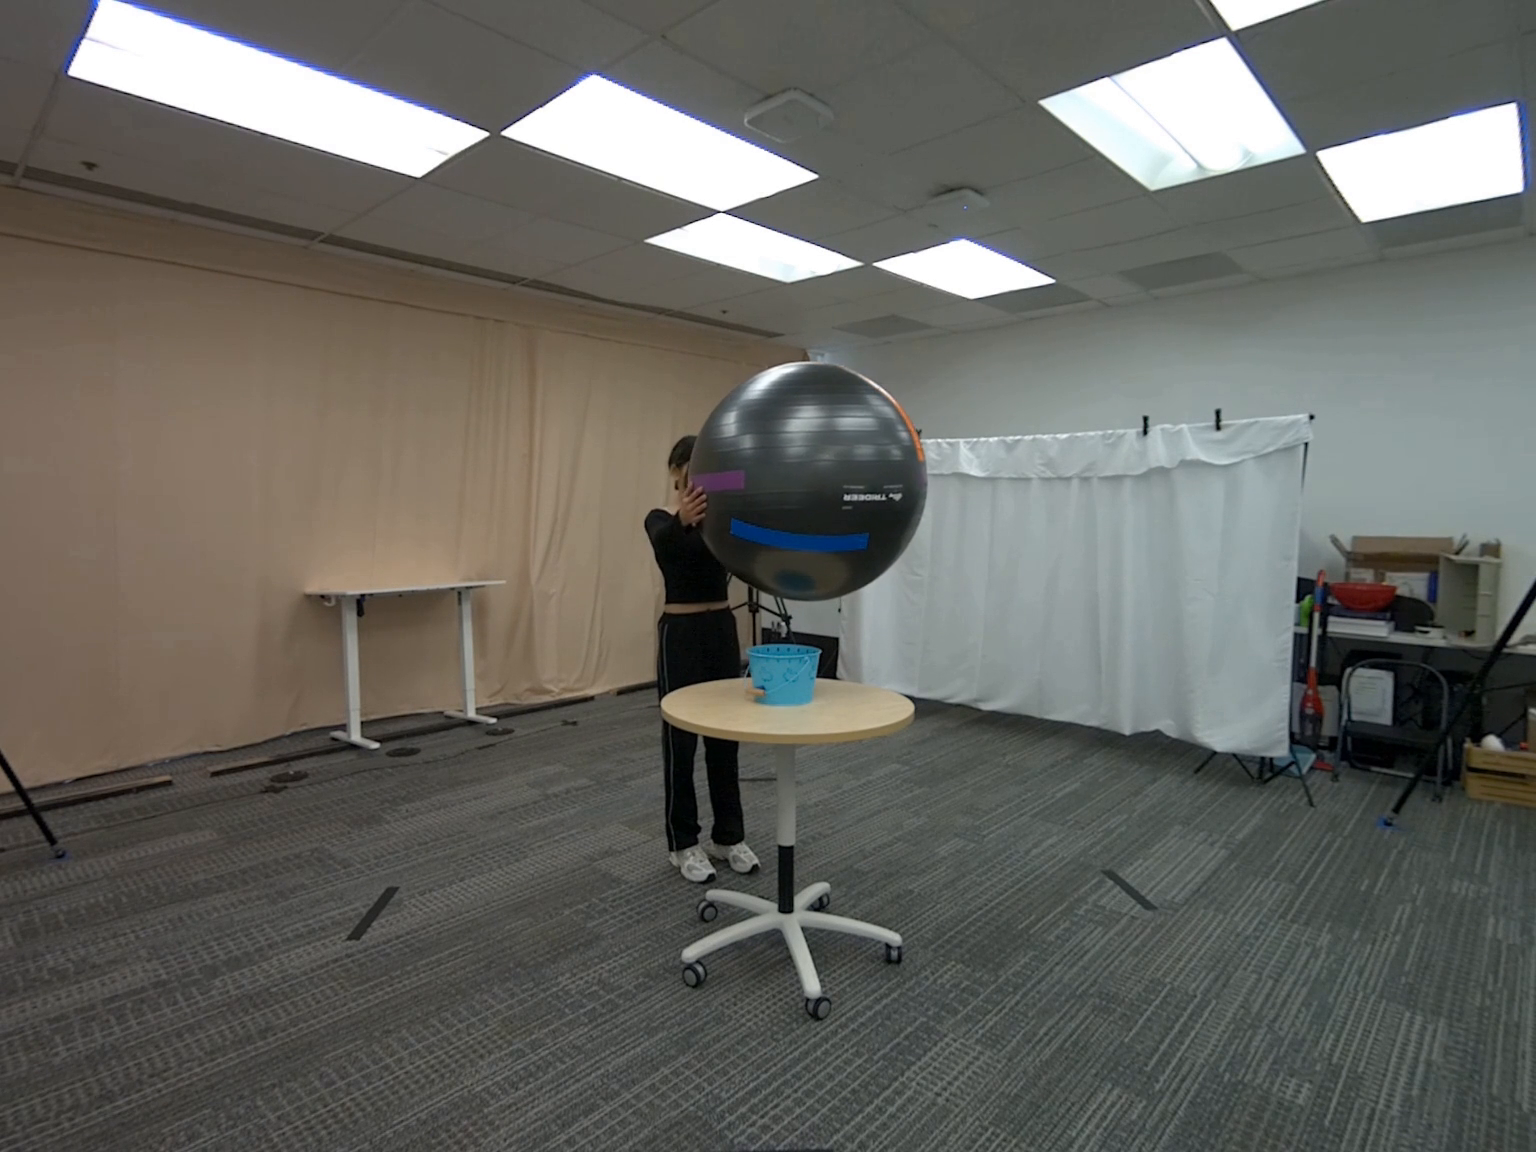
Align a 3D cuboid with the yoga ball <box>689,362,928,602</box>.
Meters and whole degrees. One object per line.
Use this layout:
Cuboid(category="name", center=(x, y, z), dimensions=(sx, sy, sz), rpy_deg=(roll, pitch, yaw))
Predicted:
Cuboid(category="yoga ball", center=(0.129, -0.295, 2.700), dimensions=(0.757, 0.756, 0.760), rpy_deg=(0, 4, -2))
